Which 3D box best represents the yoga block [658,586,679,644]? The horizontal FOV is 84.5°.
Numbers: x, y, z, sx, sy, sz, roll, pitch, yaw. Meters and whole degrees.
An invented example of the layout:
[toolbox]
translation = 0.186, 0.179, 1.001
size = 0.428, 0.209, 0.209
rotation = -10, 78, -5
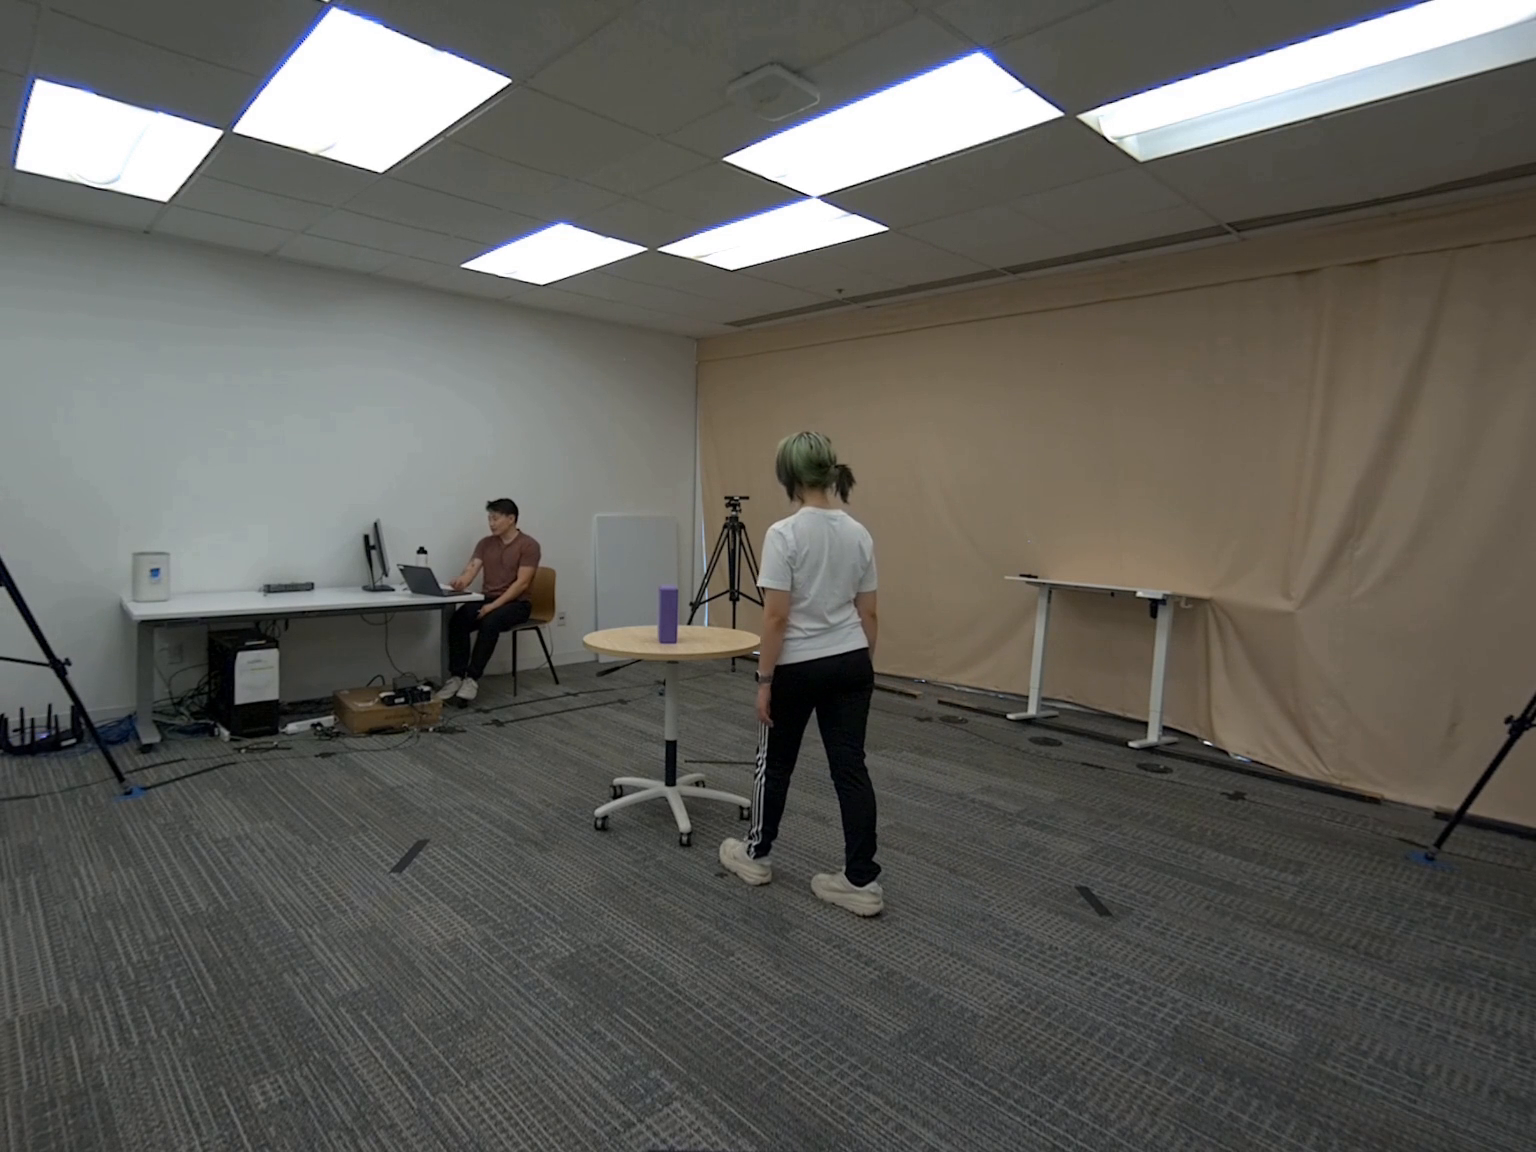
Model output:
[yoga block]
translation = -0.431, 0.161, 3.547
size = 0.076, 0.229, 0.149
rotation = 1, 0, -5
